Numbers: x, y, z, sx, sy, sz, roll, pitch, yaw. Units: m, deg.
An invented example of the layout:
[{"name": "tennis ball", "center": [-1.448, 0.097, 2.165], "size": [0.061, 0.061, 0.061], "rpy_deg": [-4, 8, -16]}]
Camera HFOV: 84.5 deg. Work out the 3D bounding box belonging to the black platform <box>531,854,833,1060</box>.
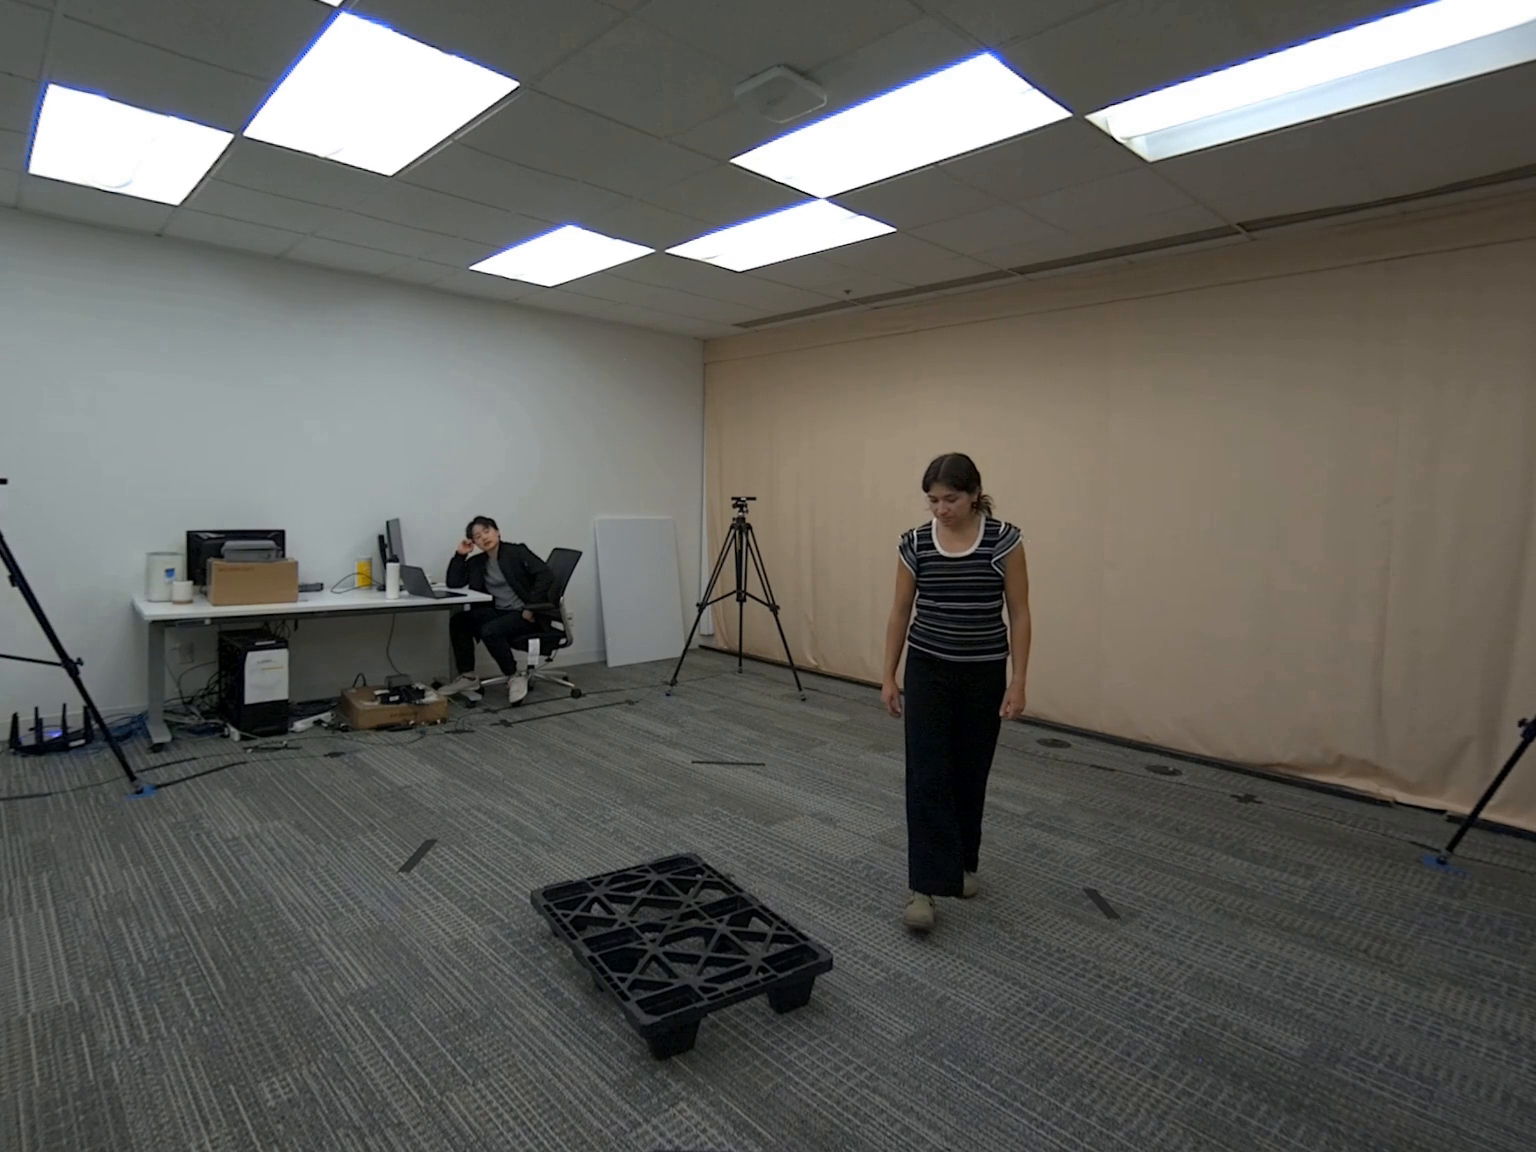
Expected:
[{"name": "black platform", "center": [-0.298, 1.094, 2.492], "size": [0.592, 0.143, 0.825], "rpy_deg": [-3, 7, -34]}]
